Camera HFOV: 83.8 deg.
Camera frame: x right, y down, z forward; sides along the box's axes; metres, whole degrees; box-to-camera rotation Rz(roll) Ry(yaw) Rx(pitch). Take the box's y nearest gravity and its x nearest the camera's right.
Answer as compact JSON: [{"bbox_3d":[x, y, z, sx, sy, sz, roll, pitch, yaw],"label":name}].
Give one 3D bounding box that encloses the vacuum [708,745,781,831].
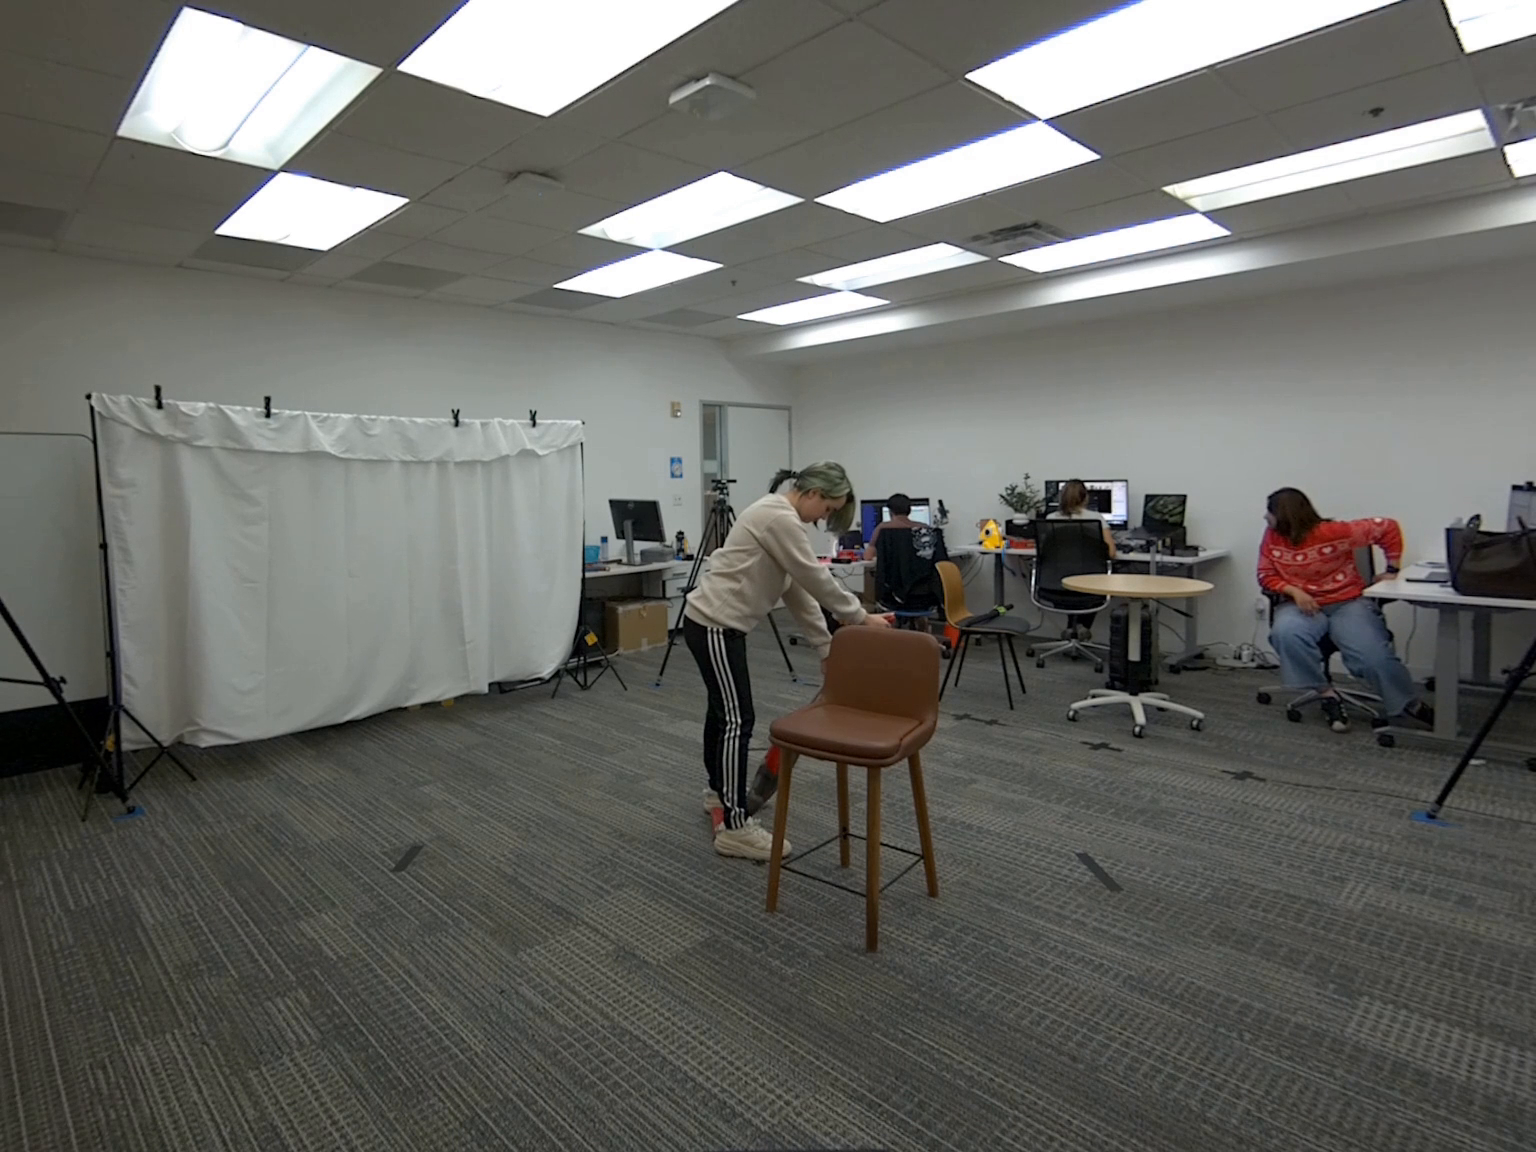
[{"bbox_3d":[0.185,0.582,3.402,0.142,1.049,0.256,38,1,-12],"label":"vacuum"}]
